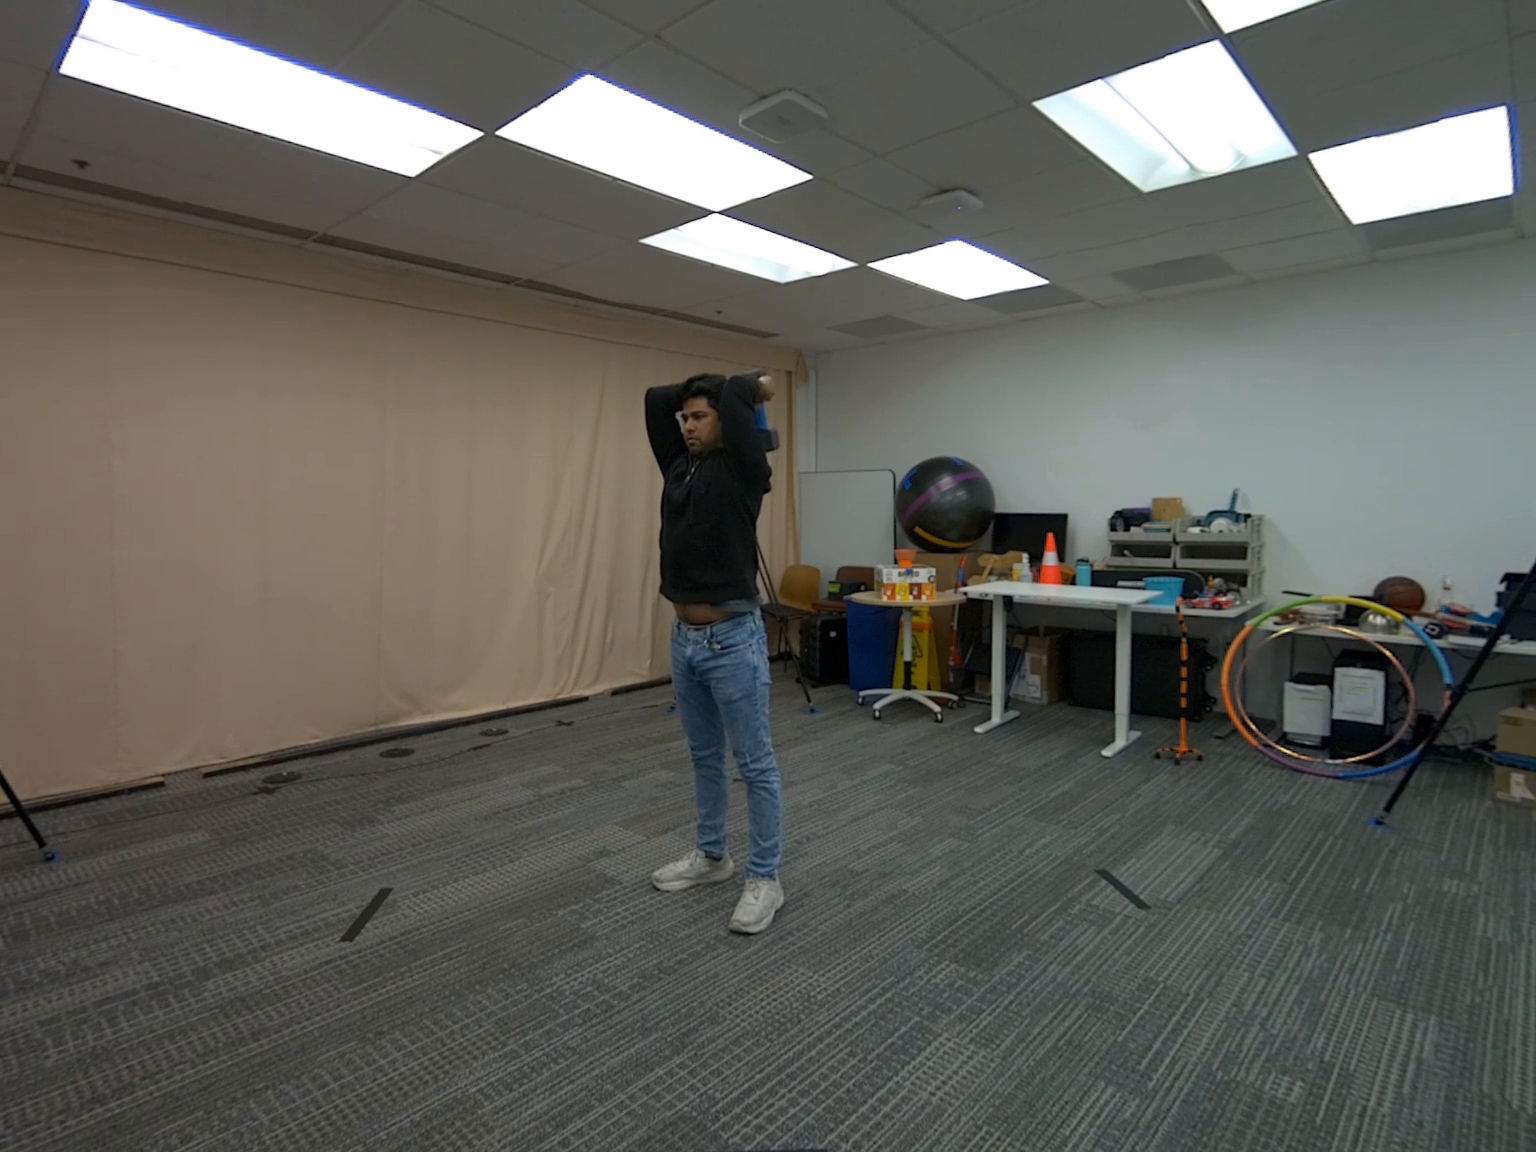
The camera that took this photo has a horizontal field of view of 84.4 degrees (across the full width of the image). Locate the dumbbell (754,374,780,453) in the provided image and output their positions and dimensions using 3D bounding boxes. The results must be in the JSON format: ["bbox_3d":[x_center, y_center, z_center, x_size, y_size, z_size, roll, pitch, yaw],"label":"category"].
[{"bbox_3d":[-0.042,-0.591,3.022,0.106,0.291,0.127,-20,14,-37],"label":"dumbbell"}]
